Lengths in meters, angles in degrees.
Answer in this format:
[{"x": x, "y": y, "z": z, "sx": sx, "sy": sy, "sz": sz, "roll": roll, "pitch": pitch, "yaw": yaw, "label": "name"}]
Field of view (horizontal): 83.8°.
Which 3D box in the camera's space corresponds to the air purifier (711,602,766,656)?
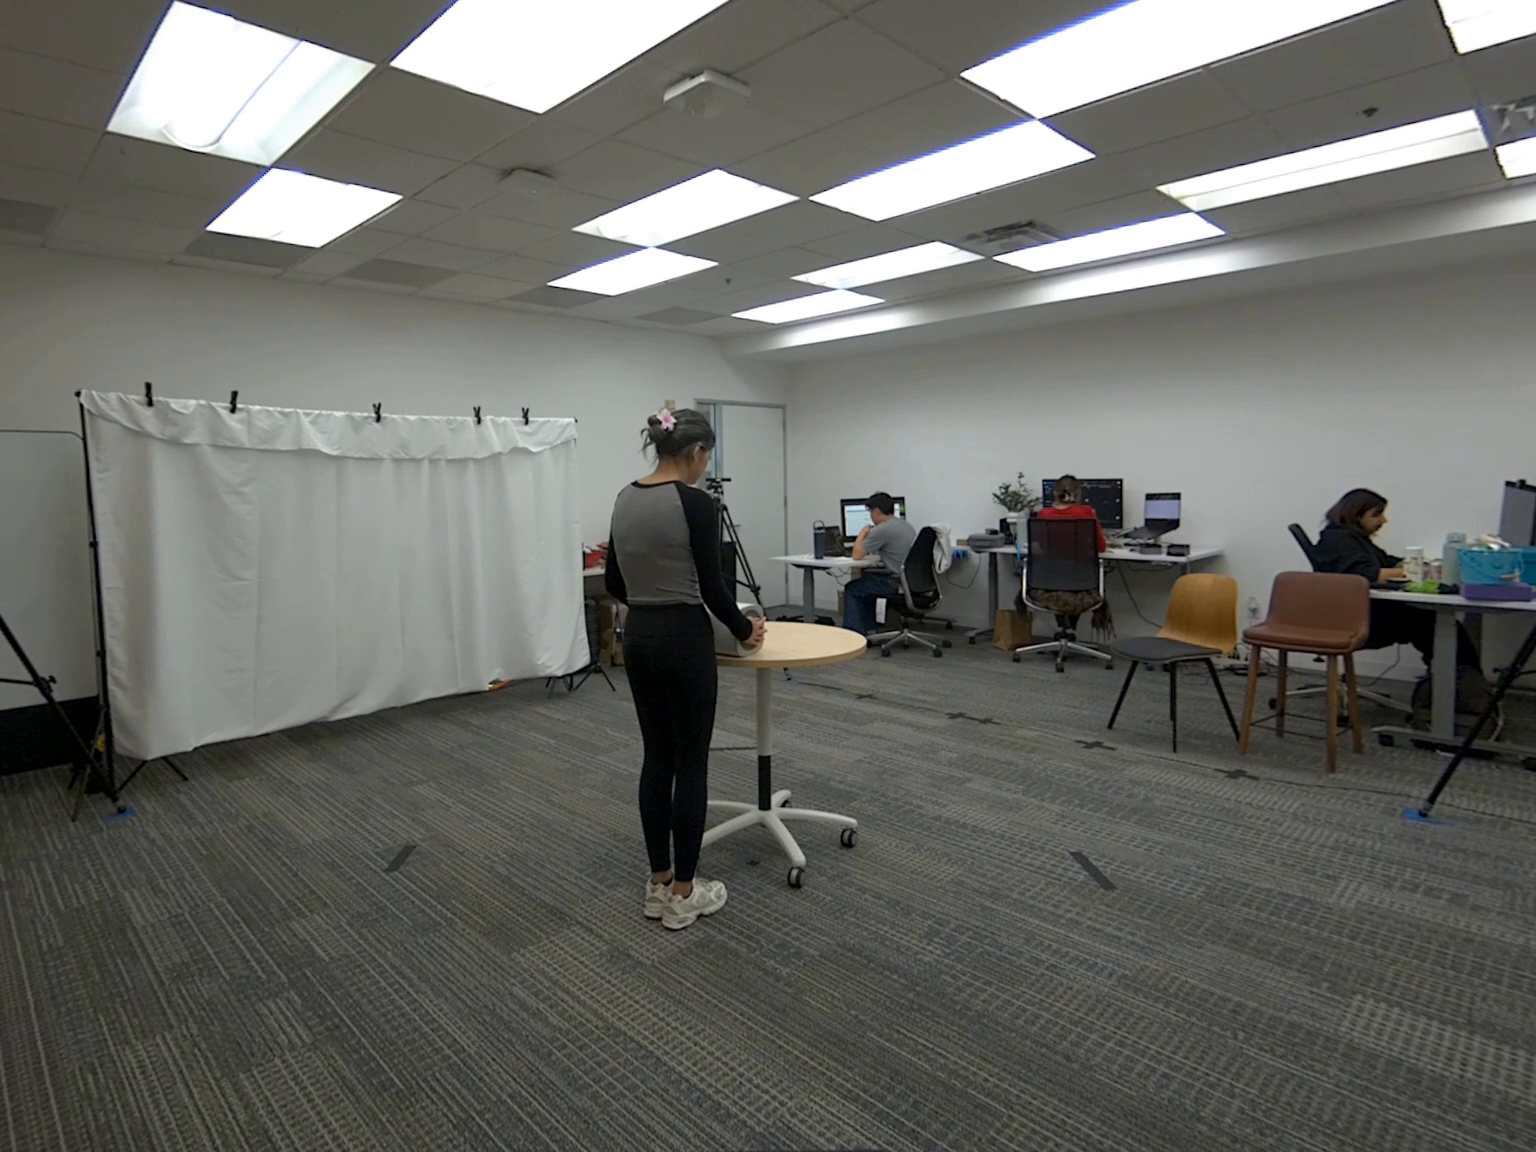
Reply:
[{"x": -0.161, "y": 0.176, "z": 2.984, "sx": 0.273, "sy": 0.170, "sz": 0.167, "roll": 3, "pitch": 8, "yaw": 35, "label": "air purifier"}]
